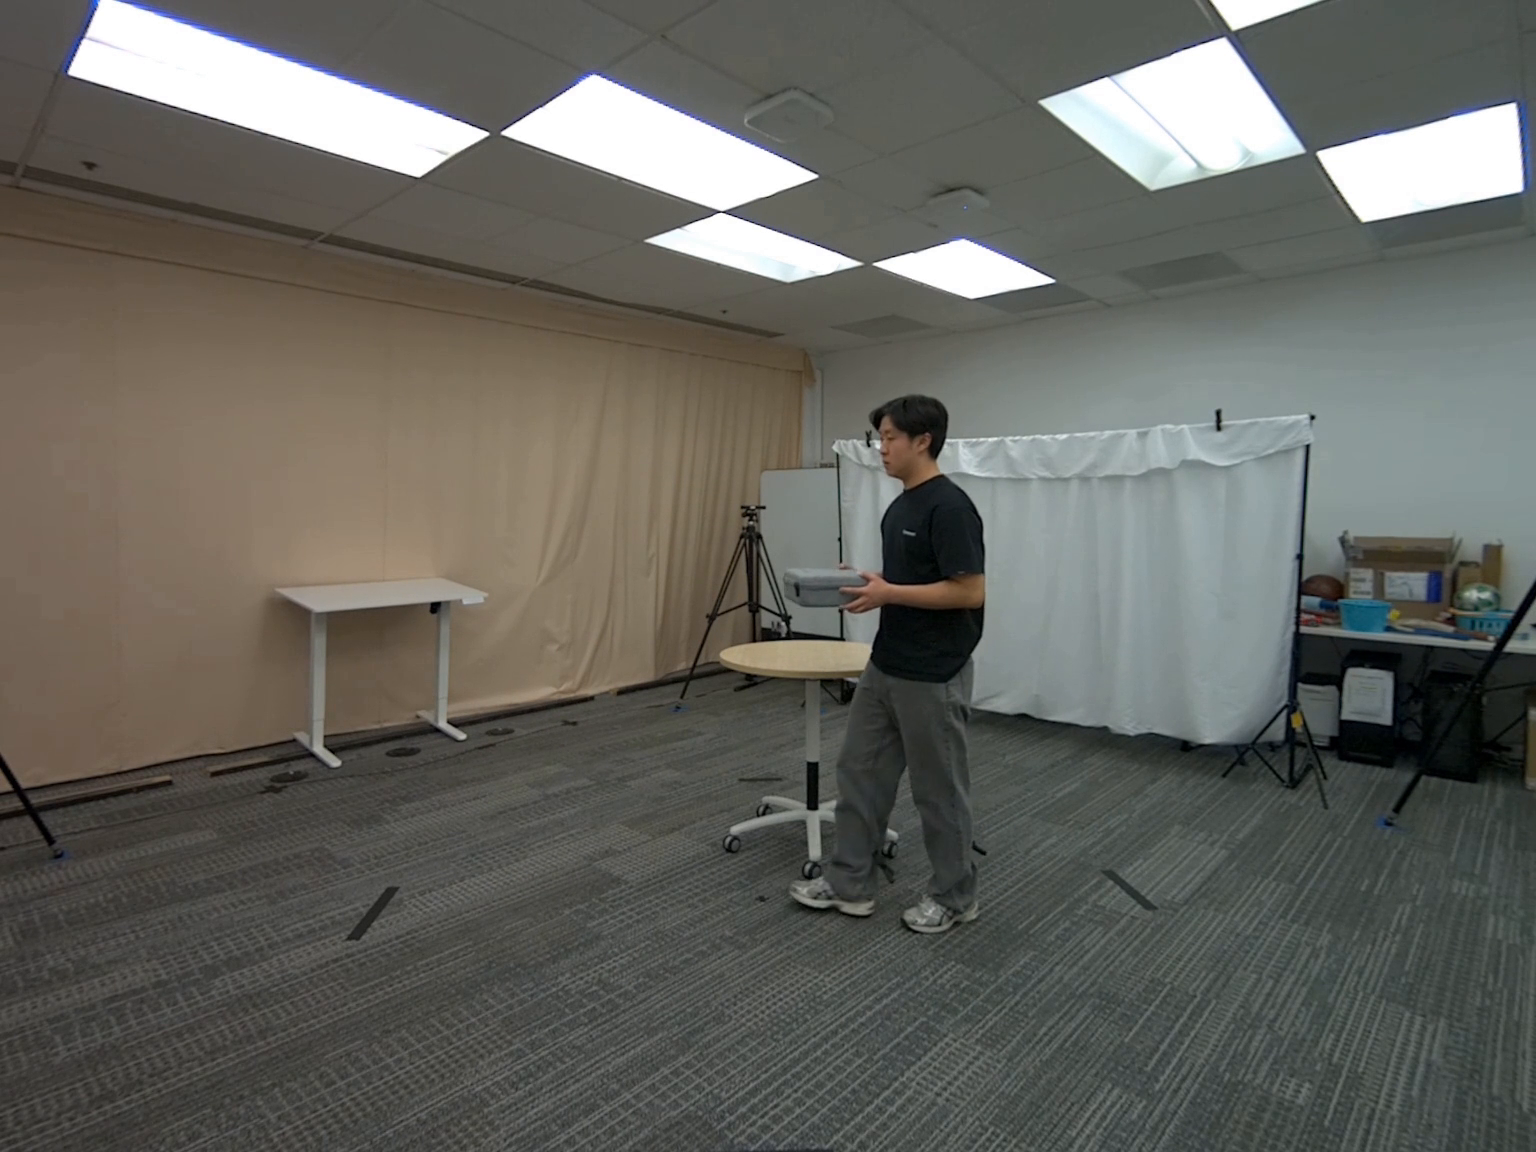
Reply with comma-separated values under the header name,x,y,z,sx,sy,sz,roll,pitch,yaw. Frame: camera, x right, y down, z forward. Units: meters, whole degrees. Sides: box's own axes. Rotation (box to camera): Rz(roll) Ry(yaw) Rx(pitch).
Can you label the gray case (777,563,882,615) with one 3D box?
name,x,y,z,sx,sy,sz,roll,pitch,yaw
gray case,0.210,0.036,2.698,0.283,0.102,0.268,-6,7,-15
